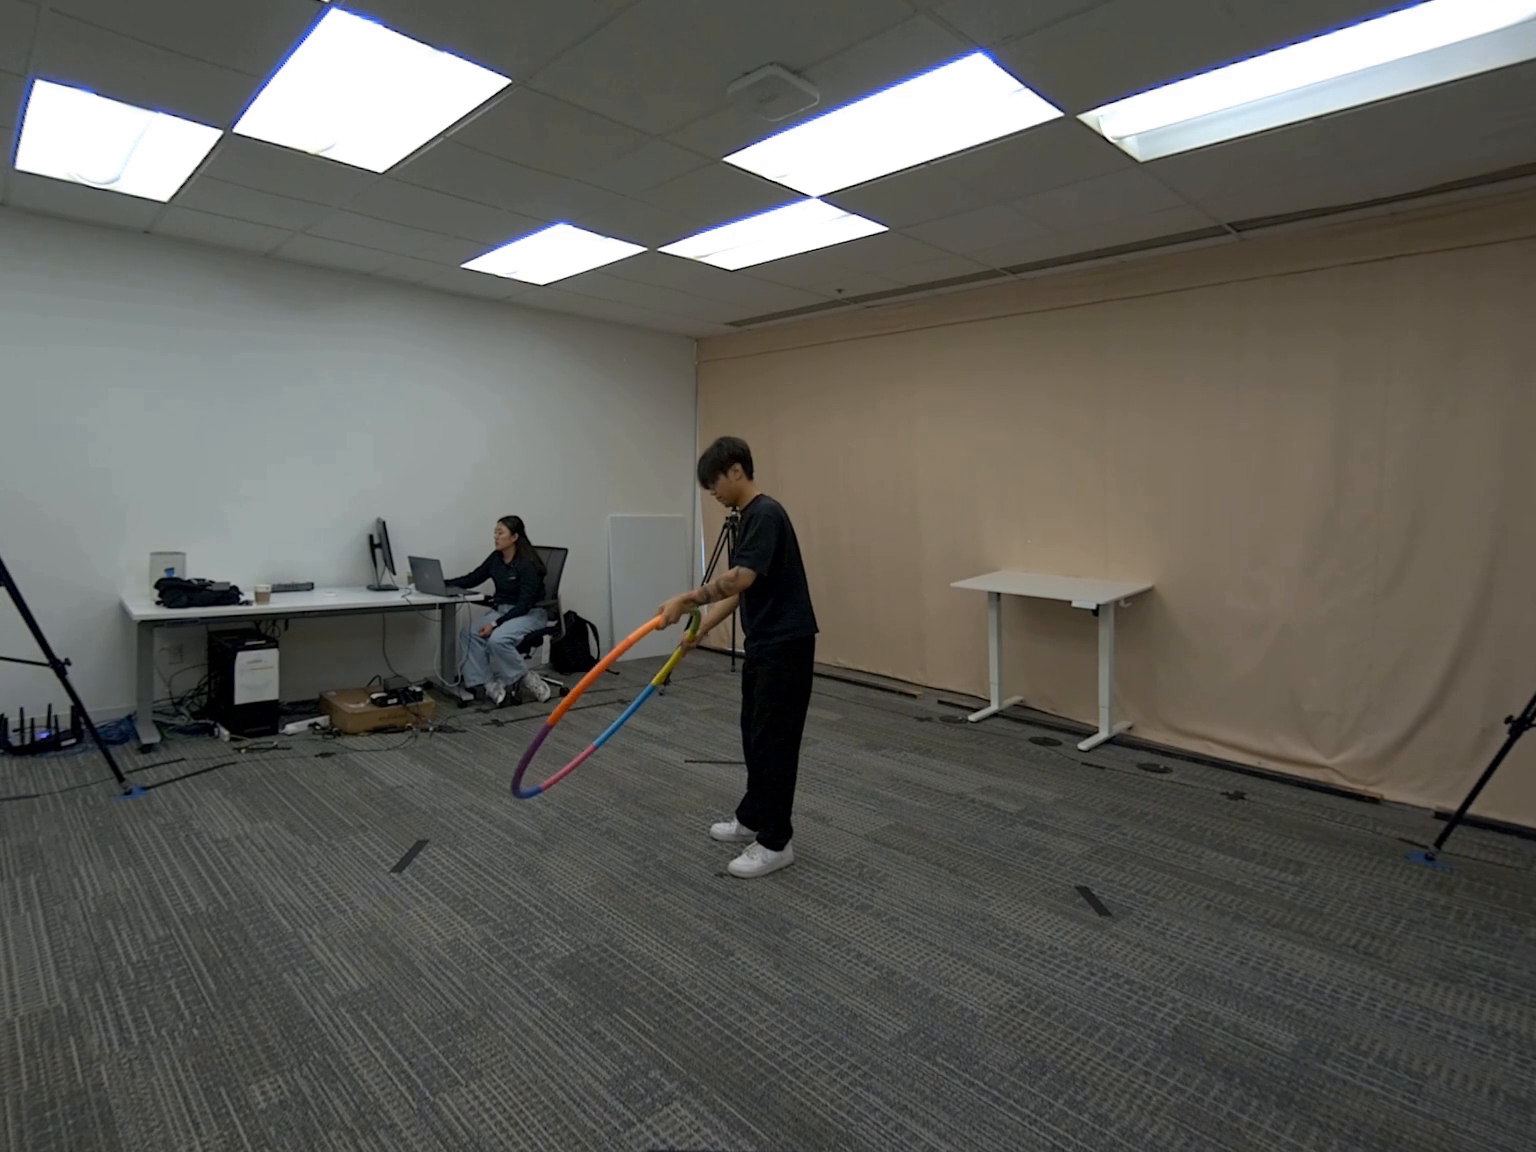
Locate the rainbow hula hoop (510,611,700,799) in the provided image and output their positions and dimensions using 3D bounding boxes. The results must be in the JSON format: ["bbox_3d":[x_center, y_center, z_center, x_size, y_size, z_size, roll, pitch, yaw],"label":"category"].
[{"bbox_3d":[-0.610,0.486,3.248,0.036,0.977,0.966,41,15,11],"label":"rainbow hula hoop"}]
